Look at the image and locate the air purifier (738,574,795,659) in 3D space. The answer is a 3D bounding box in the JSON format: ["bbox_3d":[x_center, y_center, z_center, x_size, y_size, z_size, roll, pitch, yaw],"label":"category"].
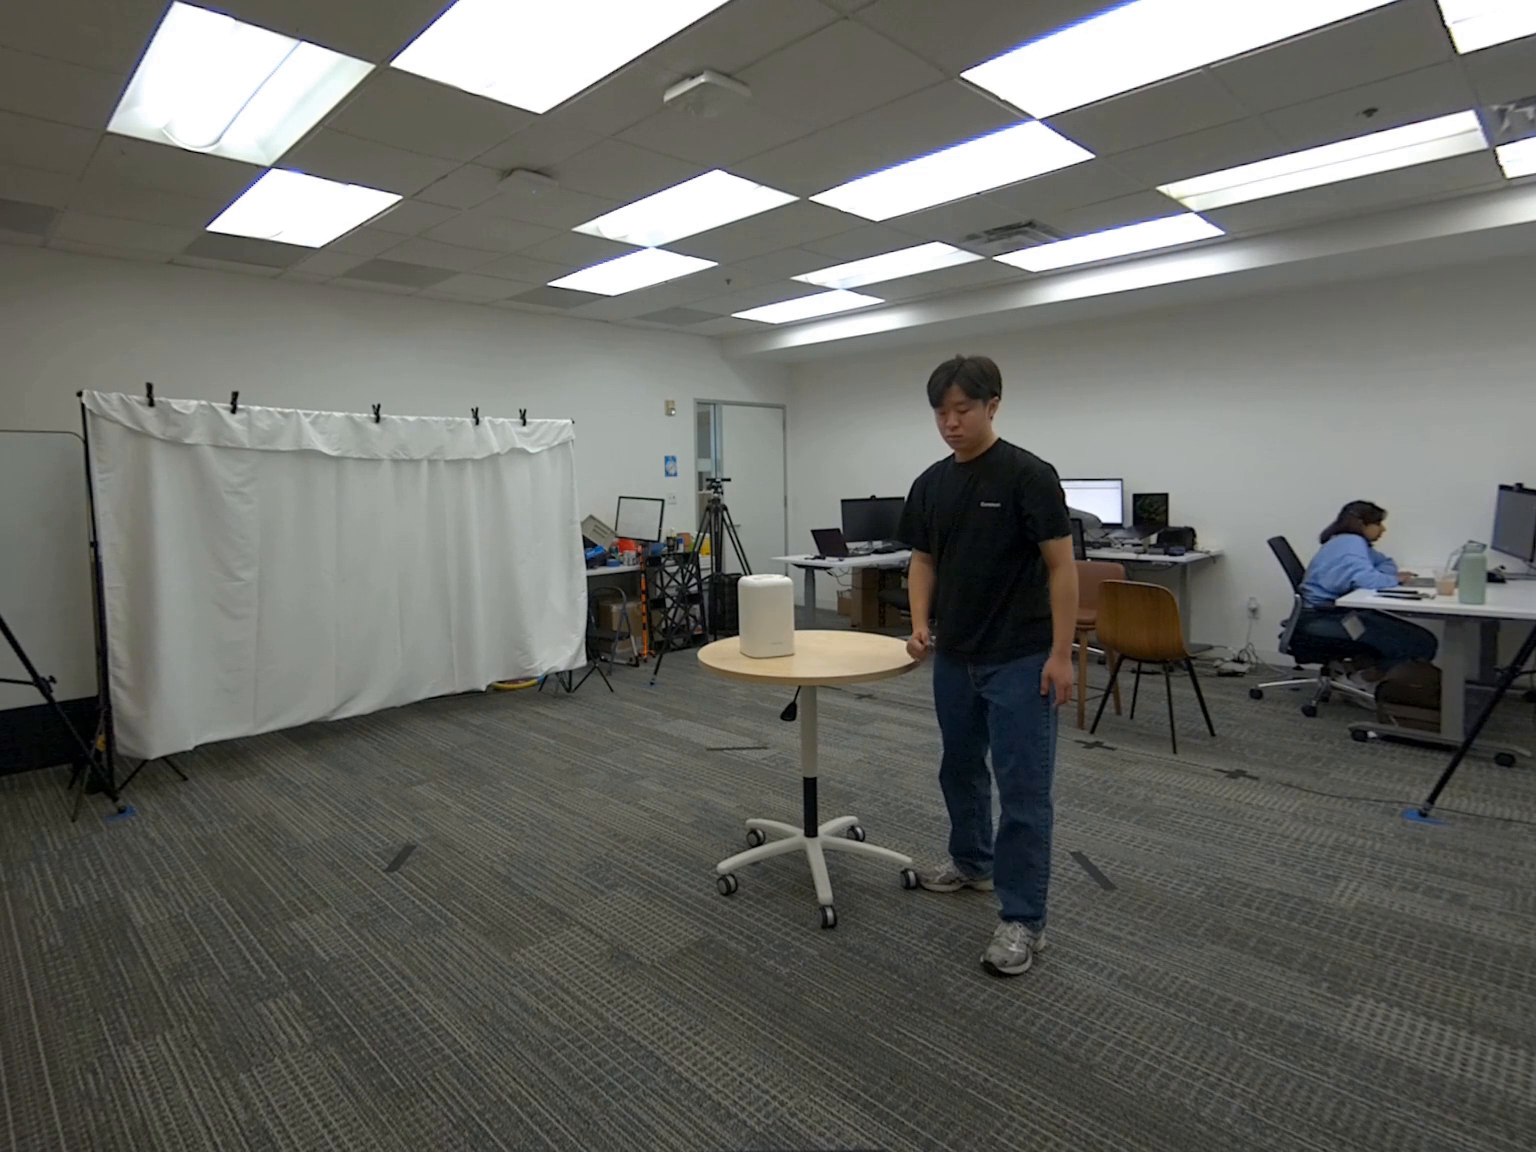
[{"bbox_3d":[-0.003,0.133,2.942,0.168,0.264,0.175,-4,6,-17],"label":"air purifier"}]
